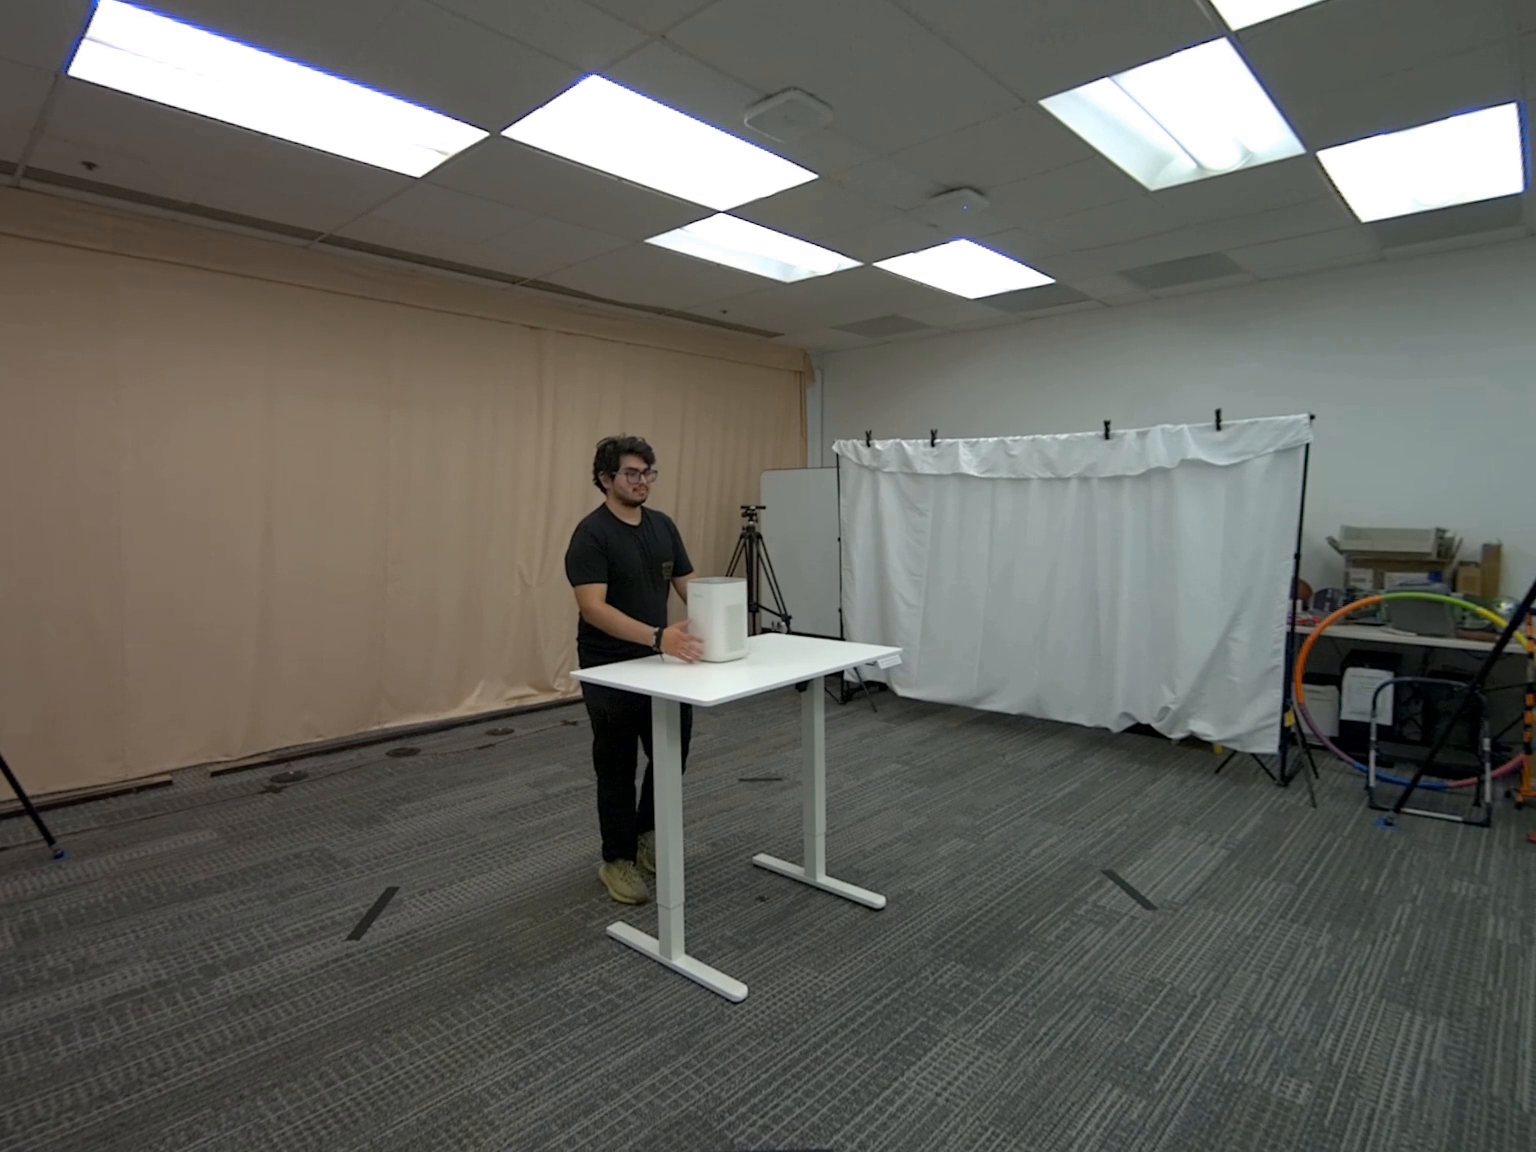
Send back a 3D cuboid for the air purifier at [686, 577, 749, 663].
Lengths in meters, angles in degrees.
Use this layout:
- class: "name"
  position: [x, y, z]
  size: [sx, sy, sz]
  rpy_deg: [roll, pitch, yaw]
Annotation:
- class: "air purifier"
  position: [-0.162, 0.145, 2.807]
  size: [0.177, 0.264, 0.166]
  rpy_deg: [4, 7, 42]
